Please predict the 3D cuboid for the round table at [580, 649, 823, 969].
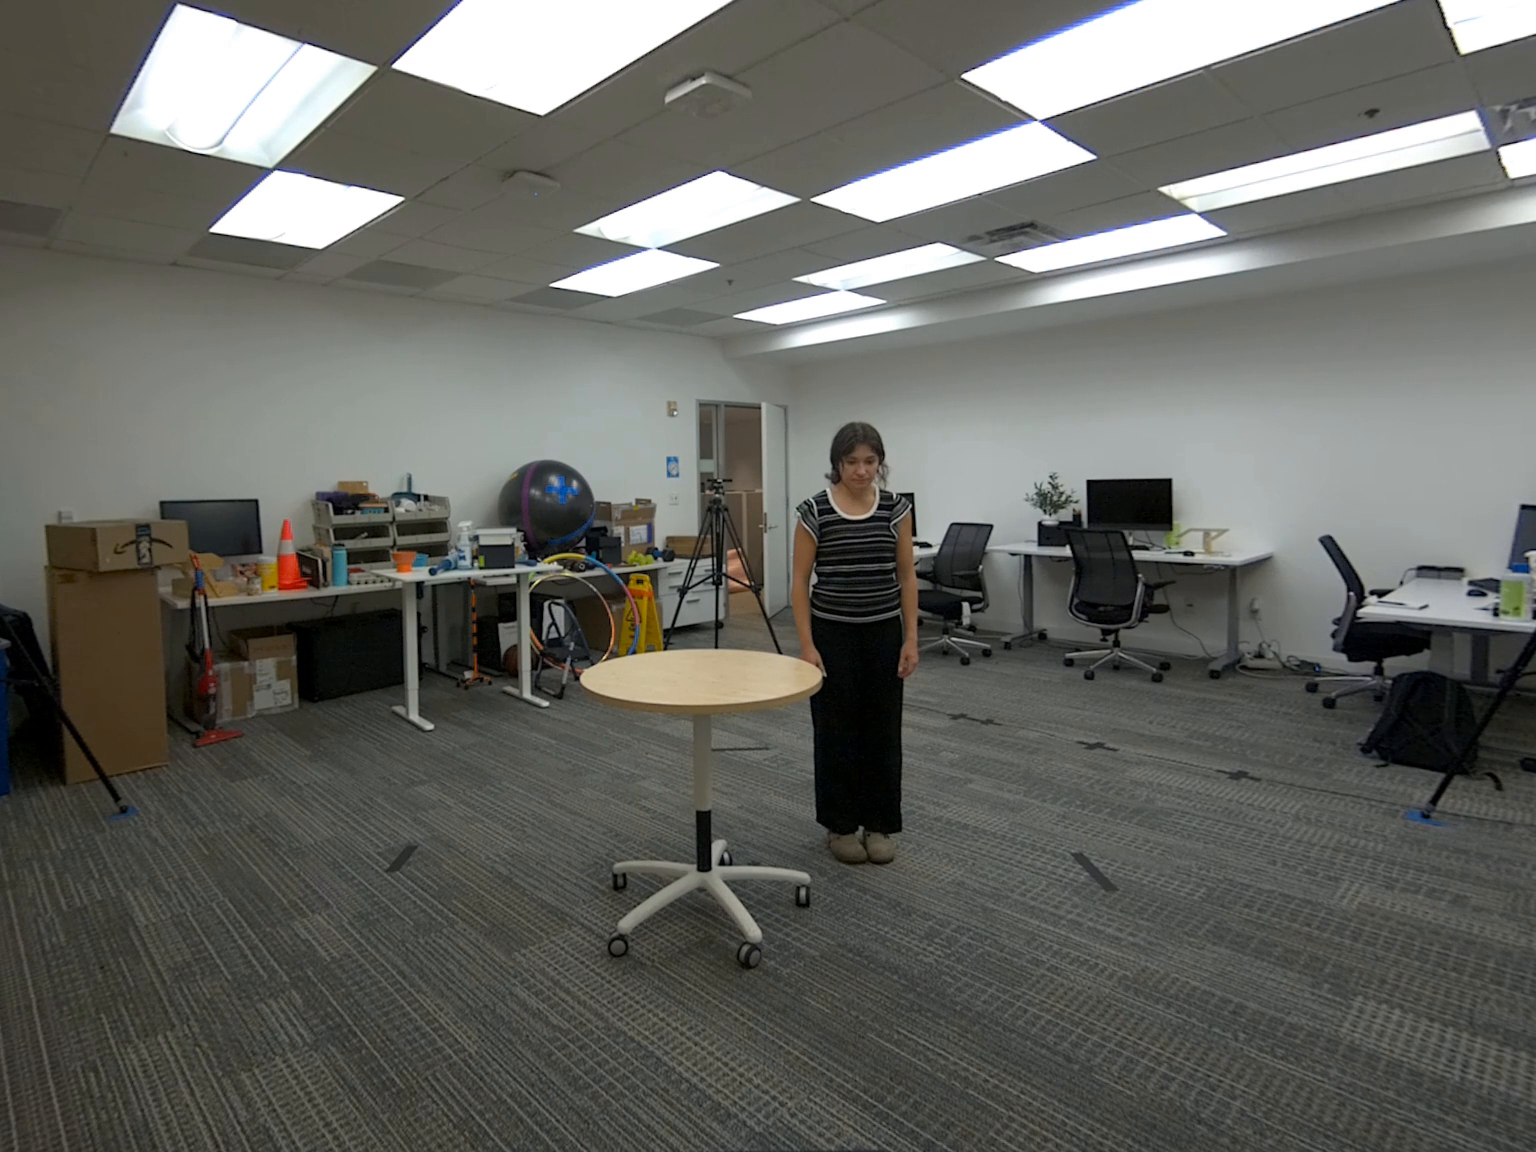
[{"bbox_3d":[-0.213,0.703,2.741,0.763,0.791,0.768,-1,5,-2],"label":"round table"}]
